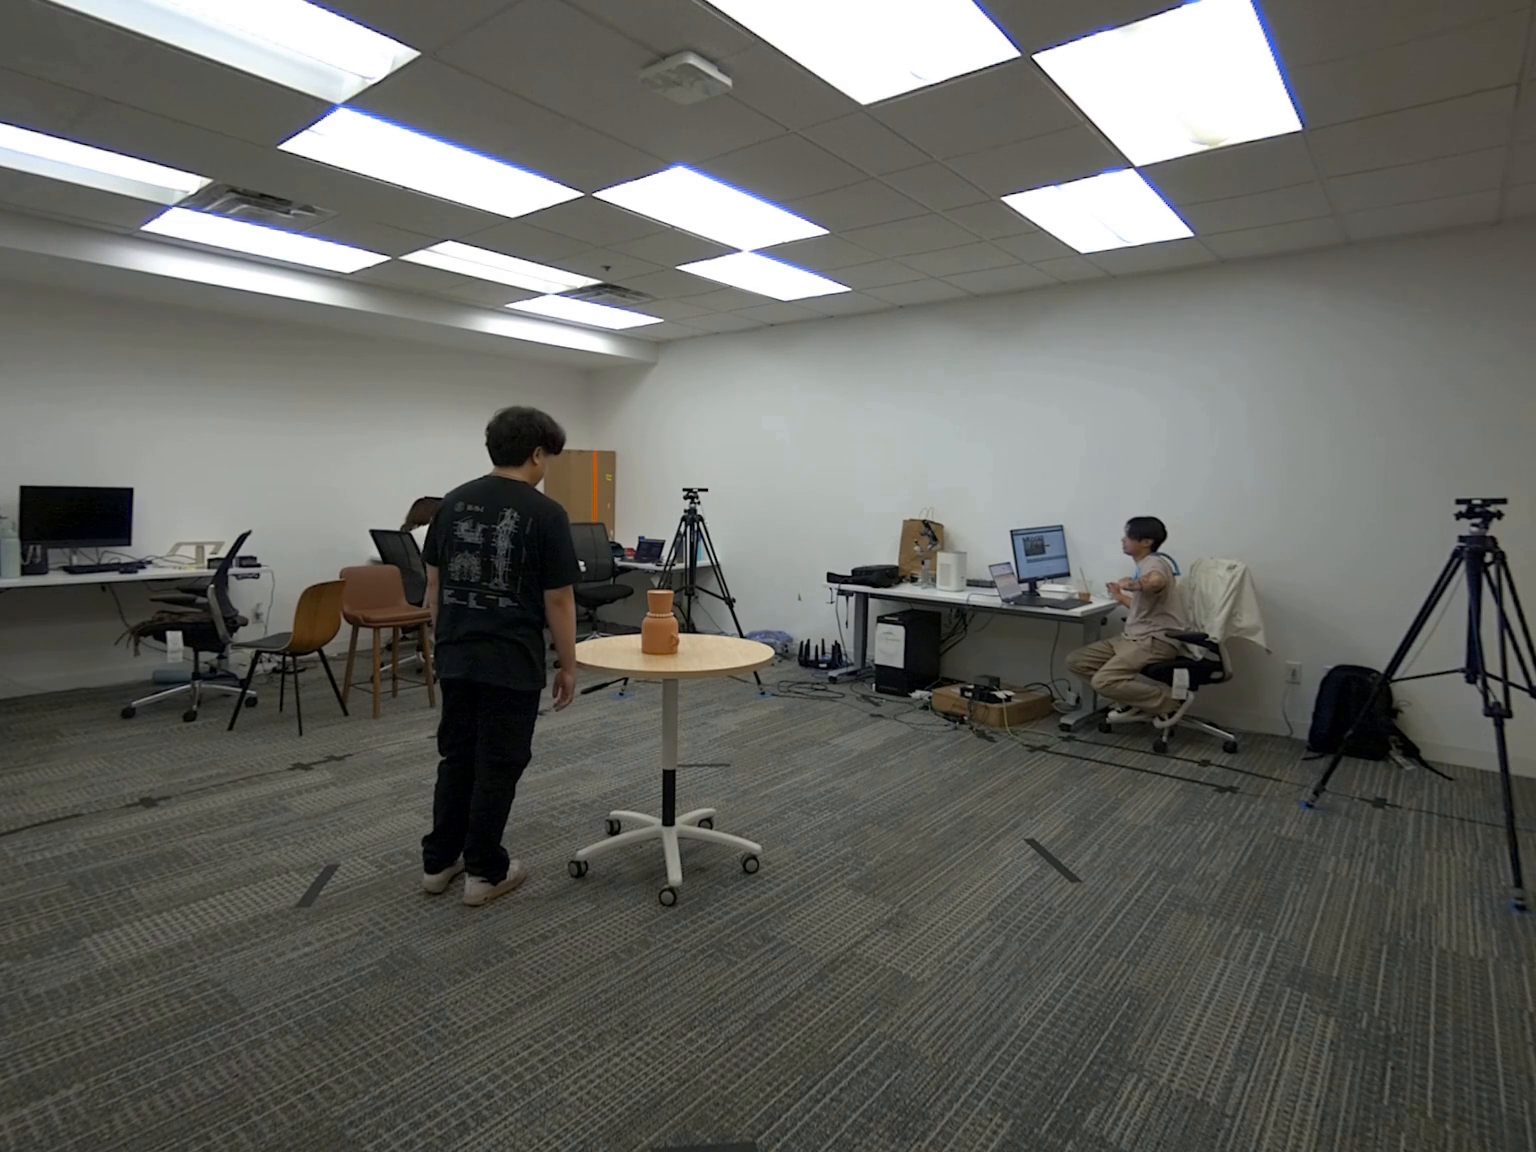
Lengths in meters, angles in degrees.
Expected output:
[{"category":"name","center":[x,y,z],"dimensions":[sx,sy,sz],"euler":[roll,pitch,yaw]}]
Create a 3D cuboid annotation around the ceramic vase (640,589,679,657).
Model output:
[{"category":"ceramic vase","center":[-0.404,0.165,3.094],"dimensions":[0.159,0.219,0.134],"euler":[0,3,3]}]
